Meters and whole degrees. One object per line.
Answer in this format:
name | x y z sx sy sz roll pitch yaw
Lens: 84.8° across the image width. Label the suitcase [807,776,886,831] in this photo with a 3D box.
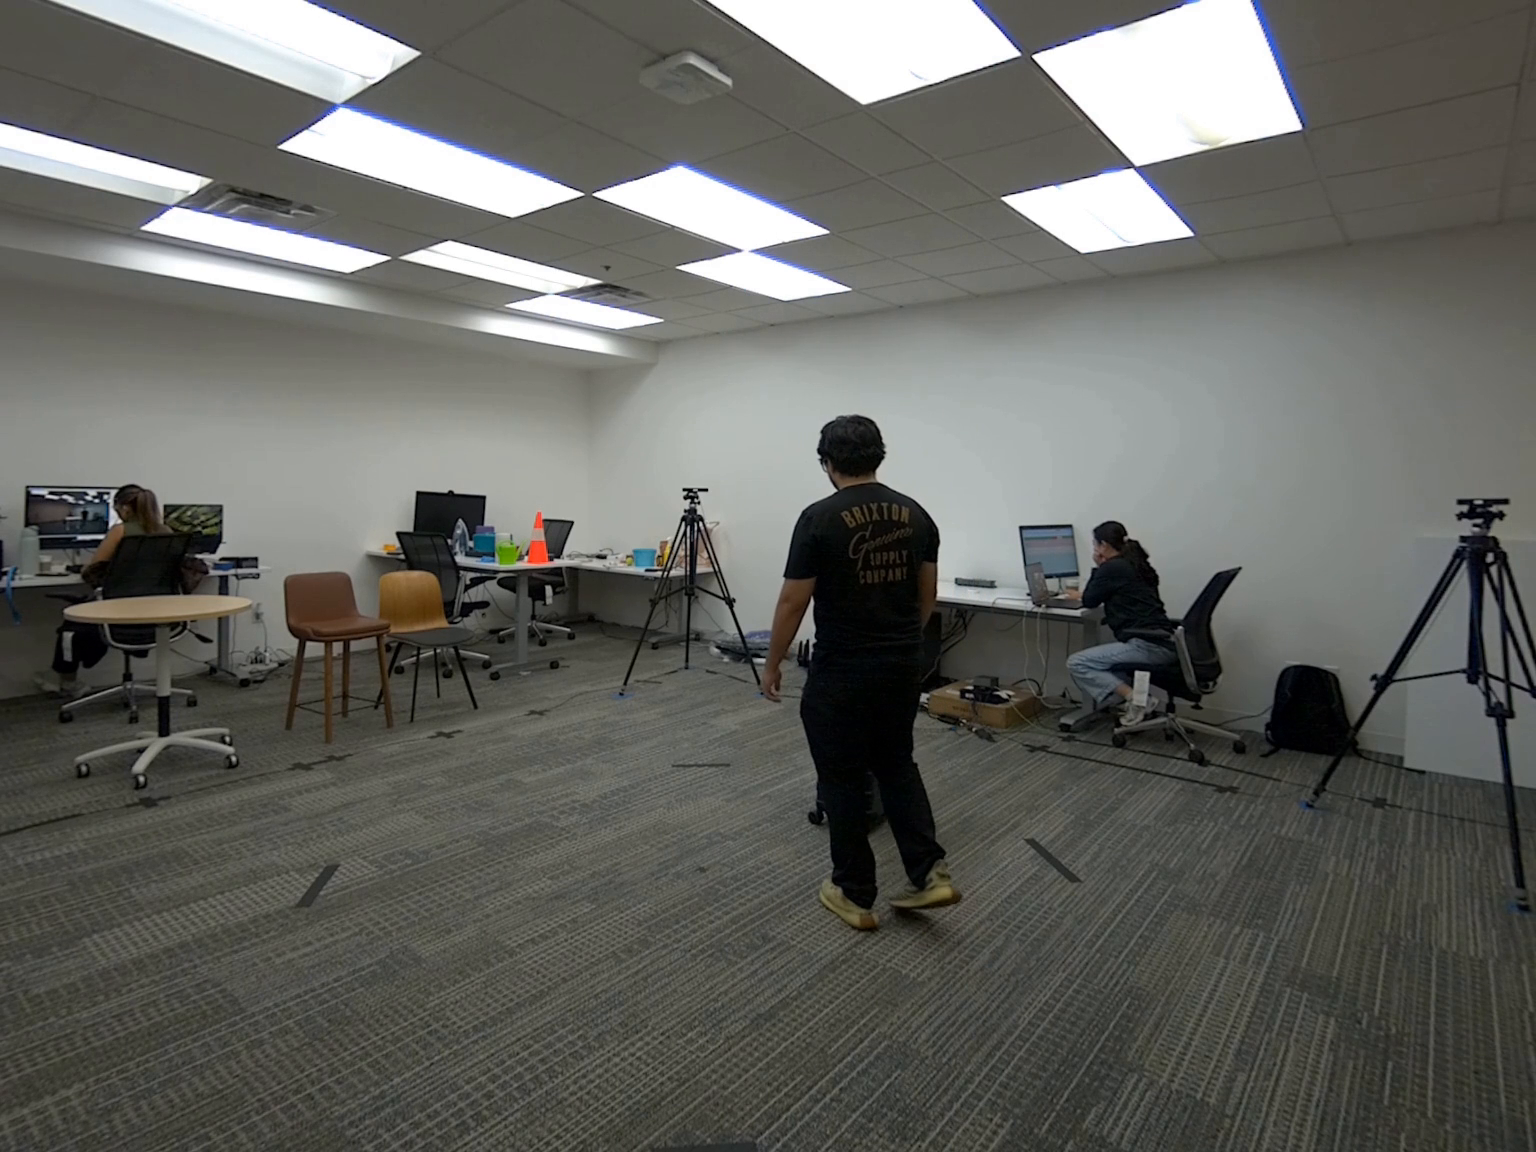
suitcase | 0.378 0.756 3.608 0.255 0.546 0.367 6 7 27
